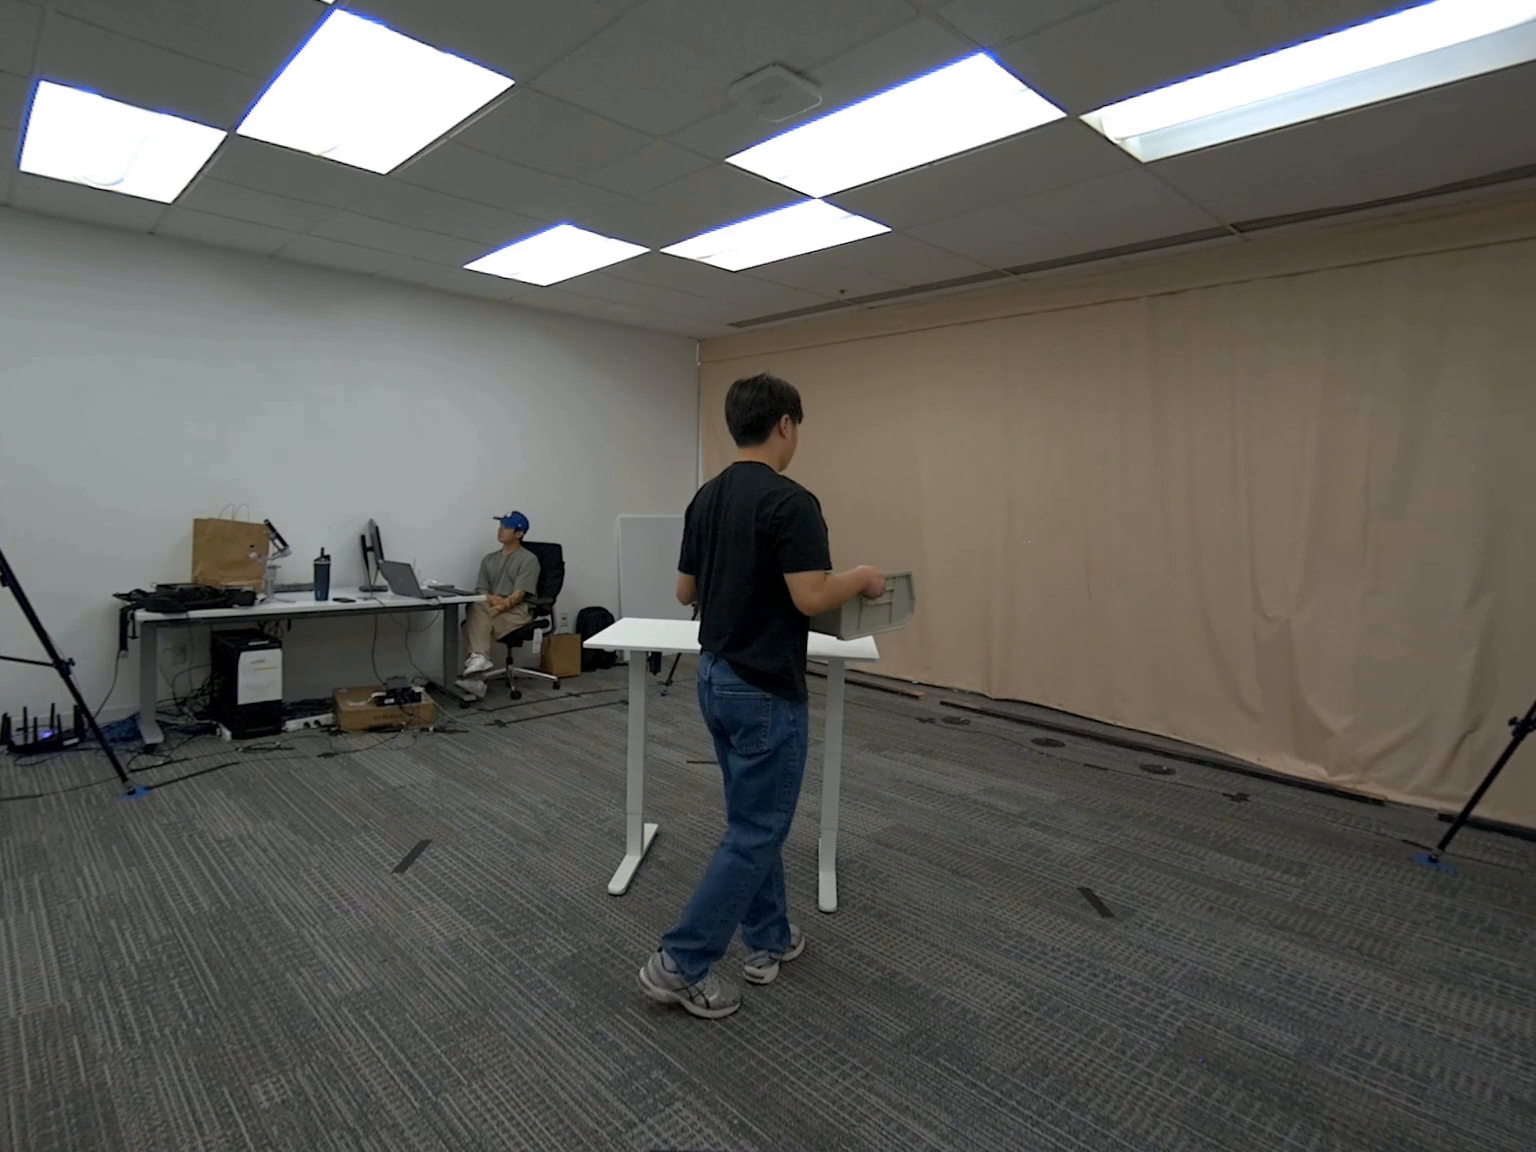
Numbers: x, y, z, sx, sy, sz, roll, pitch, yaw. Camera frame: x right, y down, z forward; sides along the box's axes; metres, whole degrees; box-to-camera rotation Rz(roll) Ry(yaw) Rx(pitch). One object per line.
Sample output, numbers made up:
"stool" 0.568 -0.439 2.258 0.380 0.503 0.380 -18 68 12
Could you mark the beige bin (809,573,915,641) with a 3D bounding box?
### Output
"beige bin" 0.184 0.063 2.635 0.433 0.188 0.369 9 11 42
